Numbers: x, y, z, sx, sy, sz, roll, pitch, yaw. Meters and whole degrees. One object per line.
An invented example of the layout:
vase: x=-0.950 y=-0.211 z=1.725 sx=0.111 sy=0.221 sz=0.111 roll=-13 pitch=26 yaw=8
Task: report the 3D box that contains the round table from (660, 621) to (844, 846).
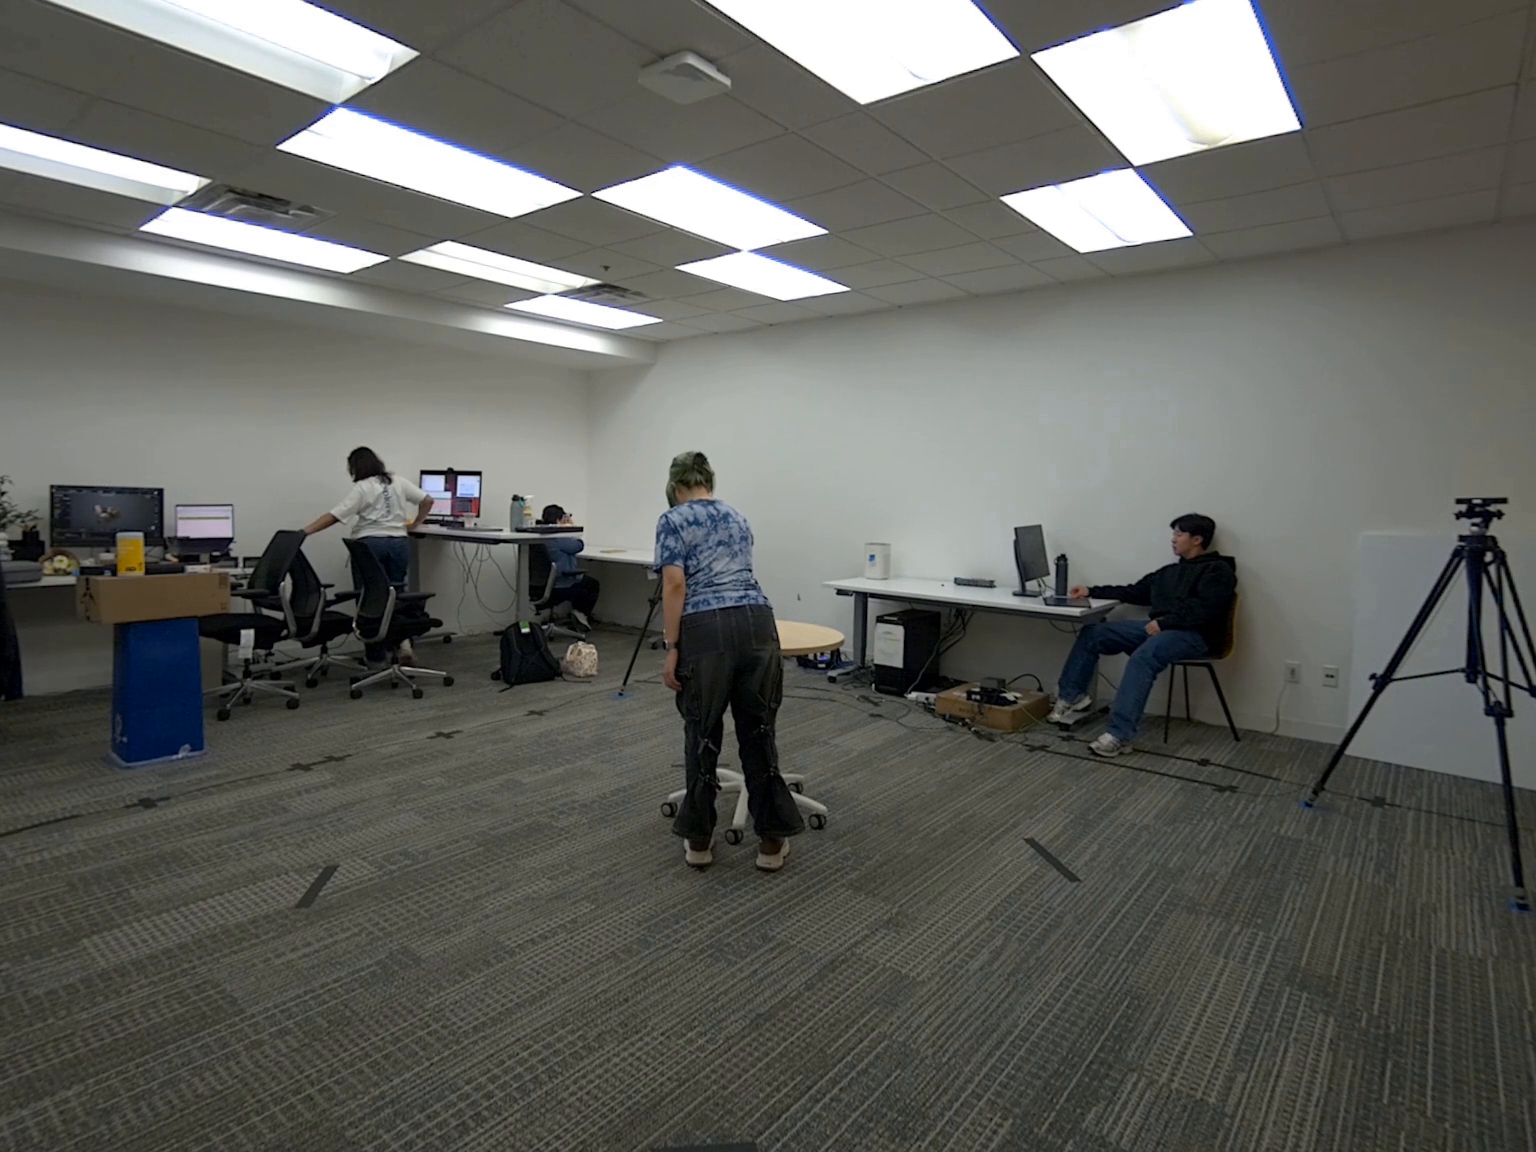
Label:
round table: x=-0.070 y=0.625 z=3.629 sx=0.784 sy=0.784 sz=0.789 roll=1 pitch=4 yaw=-2
